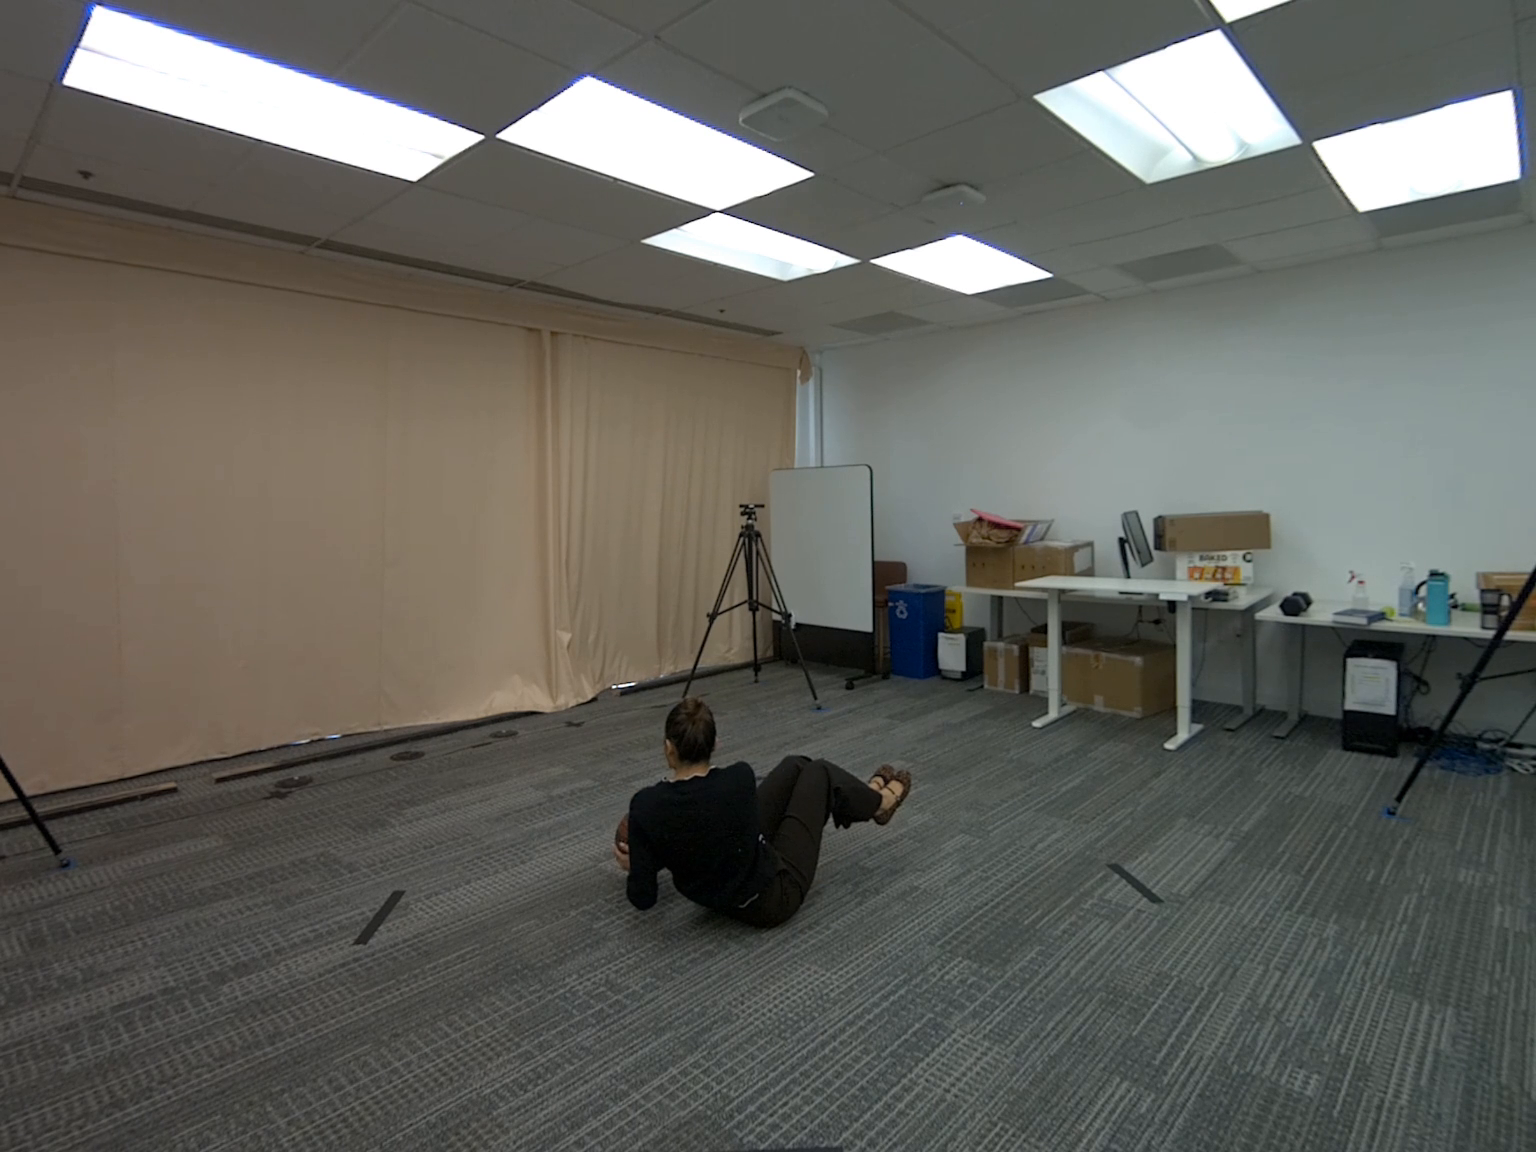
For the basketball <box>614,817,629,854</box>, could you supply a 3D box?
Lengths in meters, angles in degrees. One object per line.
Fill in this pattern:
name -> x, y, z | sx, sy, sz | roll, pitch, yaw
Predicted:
basketball -> -0.426, 0.936, 3.082 | 0.236, 0.235, 0.237 | -1, 4, -2
